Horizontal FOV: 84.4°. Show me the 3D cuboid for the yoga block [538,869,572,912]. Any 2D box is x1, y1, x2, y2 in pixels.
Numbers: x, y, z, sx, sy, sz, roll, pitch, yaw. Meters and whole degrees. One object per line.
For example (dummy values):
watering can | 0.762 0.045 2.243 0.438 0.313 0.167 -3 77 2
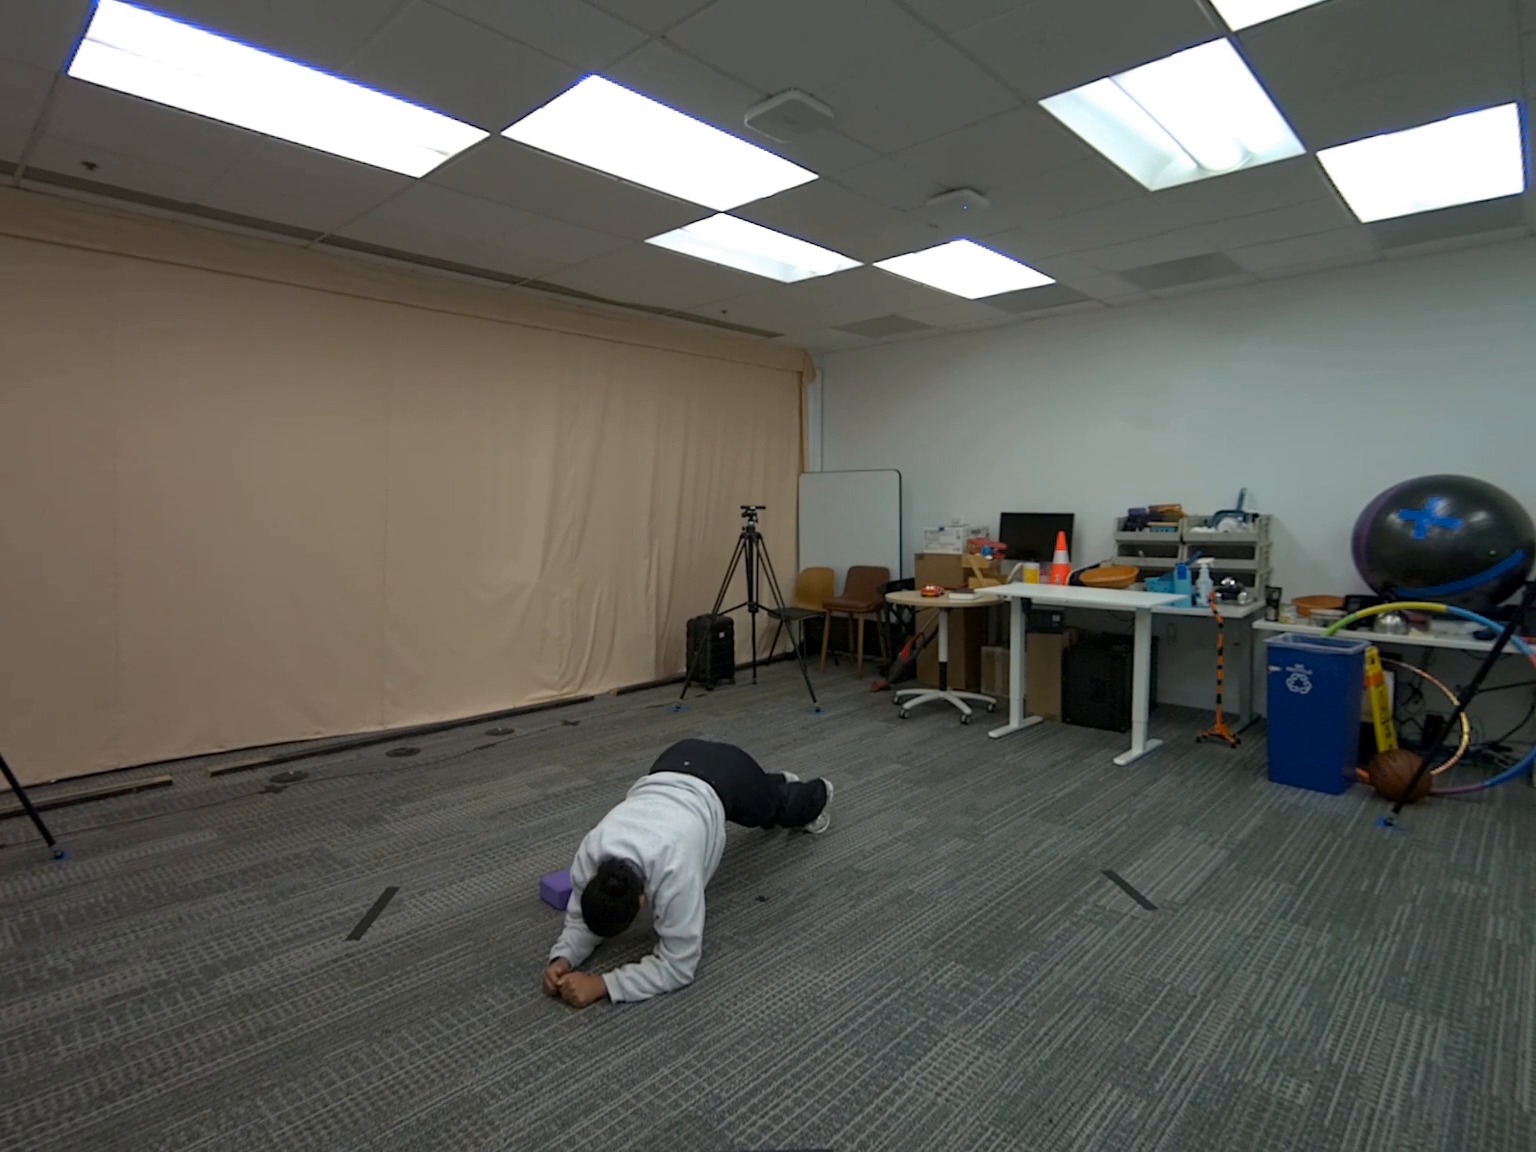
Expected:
yoga block | -0.685 1.110 3.016 0.222 0.076 0.154 -5 5 -42
